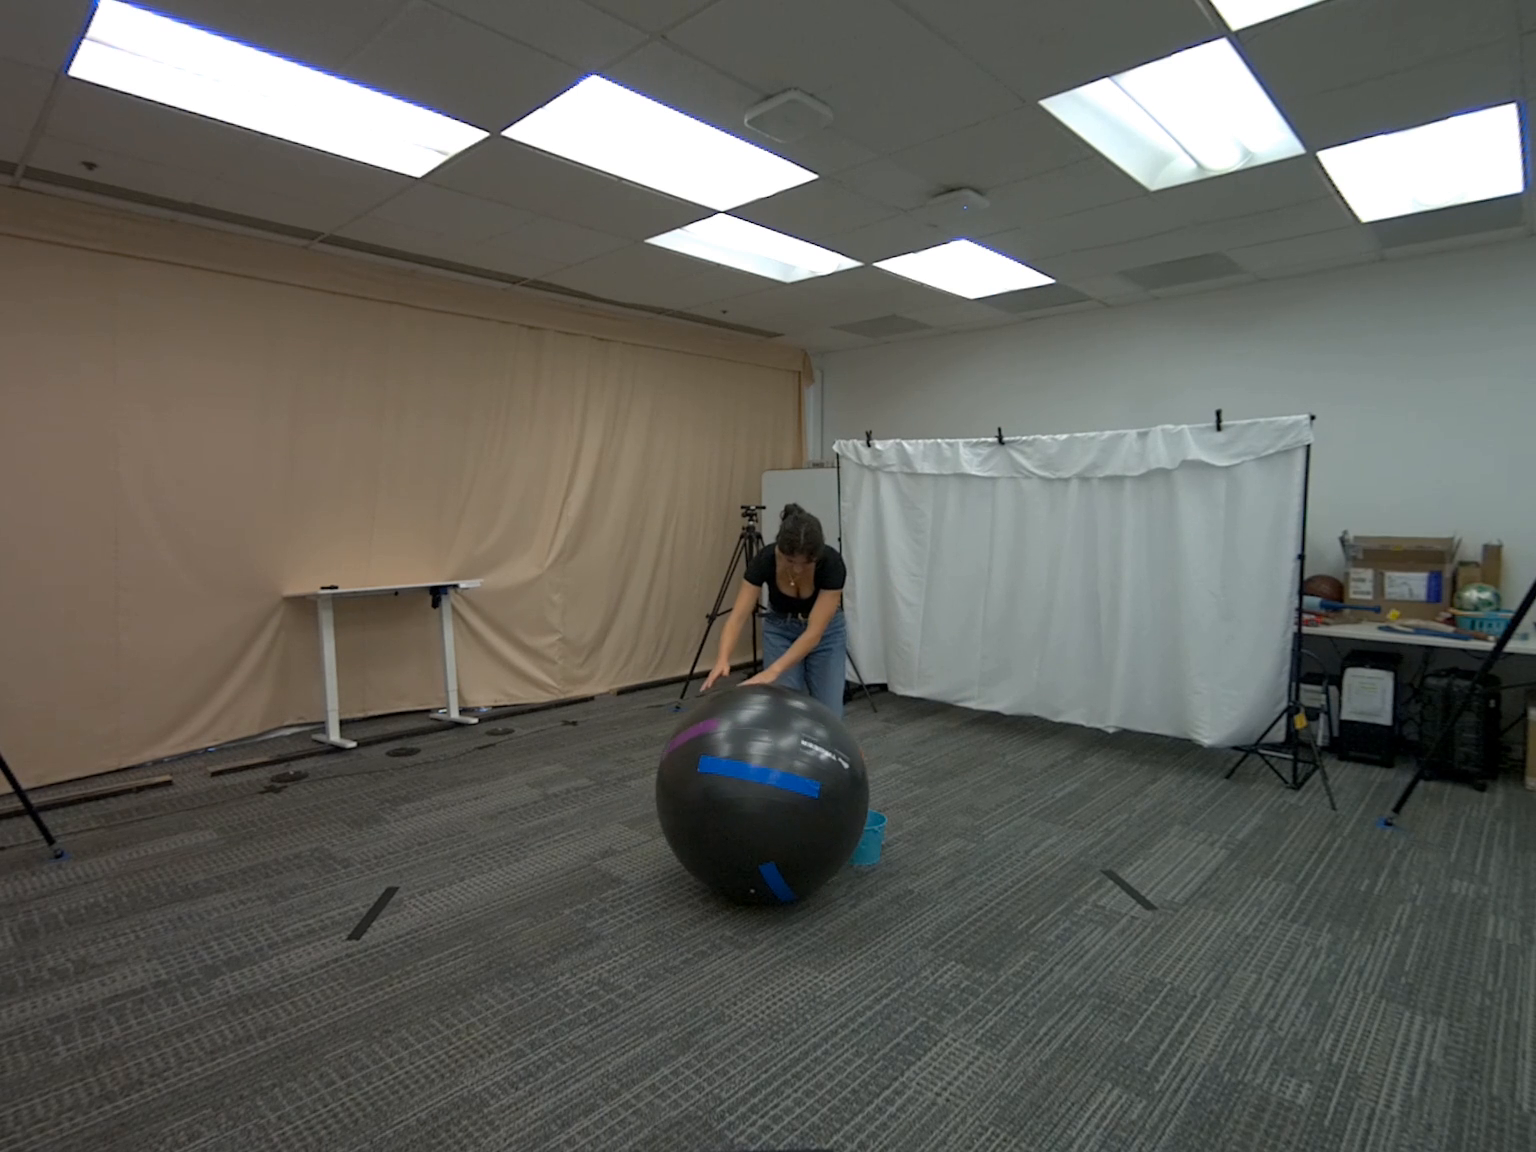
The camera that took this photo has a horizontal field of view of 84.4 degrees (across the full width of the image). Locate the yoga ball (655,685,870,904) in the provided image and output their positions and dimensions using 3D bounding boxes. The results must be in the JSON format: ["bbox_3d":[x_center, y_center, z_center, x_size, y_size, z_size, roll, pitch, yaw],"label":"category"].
[{"bbox_3d":[-0.004,0.771,3.026,0.757,0.756,0.760,0,4,-2],"label":"yoga ball"}]
